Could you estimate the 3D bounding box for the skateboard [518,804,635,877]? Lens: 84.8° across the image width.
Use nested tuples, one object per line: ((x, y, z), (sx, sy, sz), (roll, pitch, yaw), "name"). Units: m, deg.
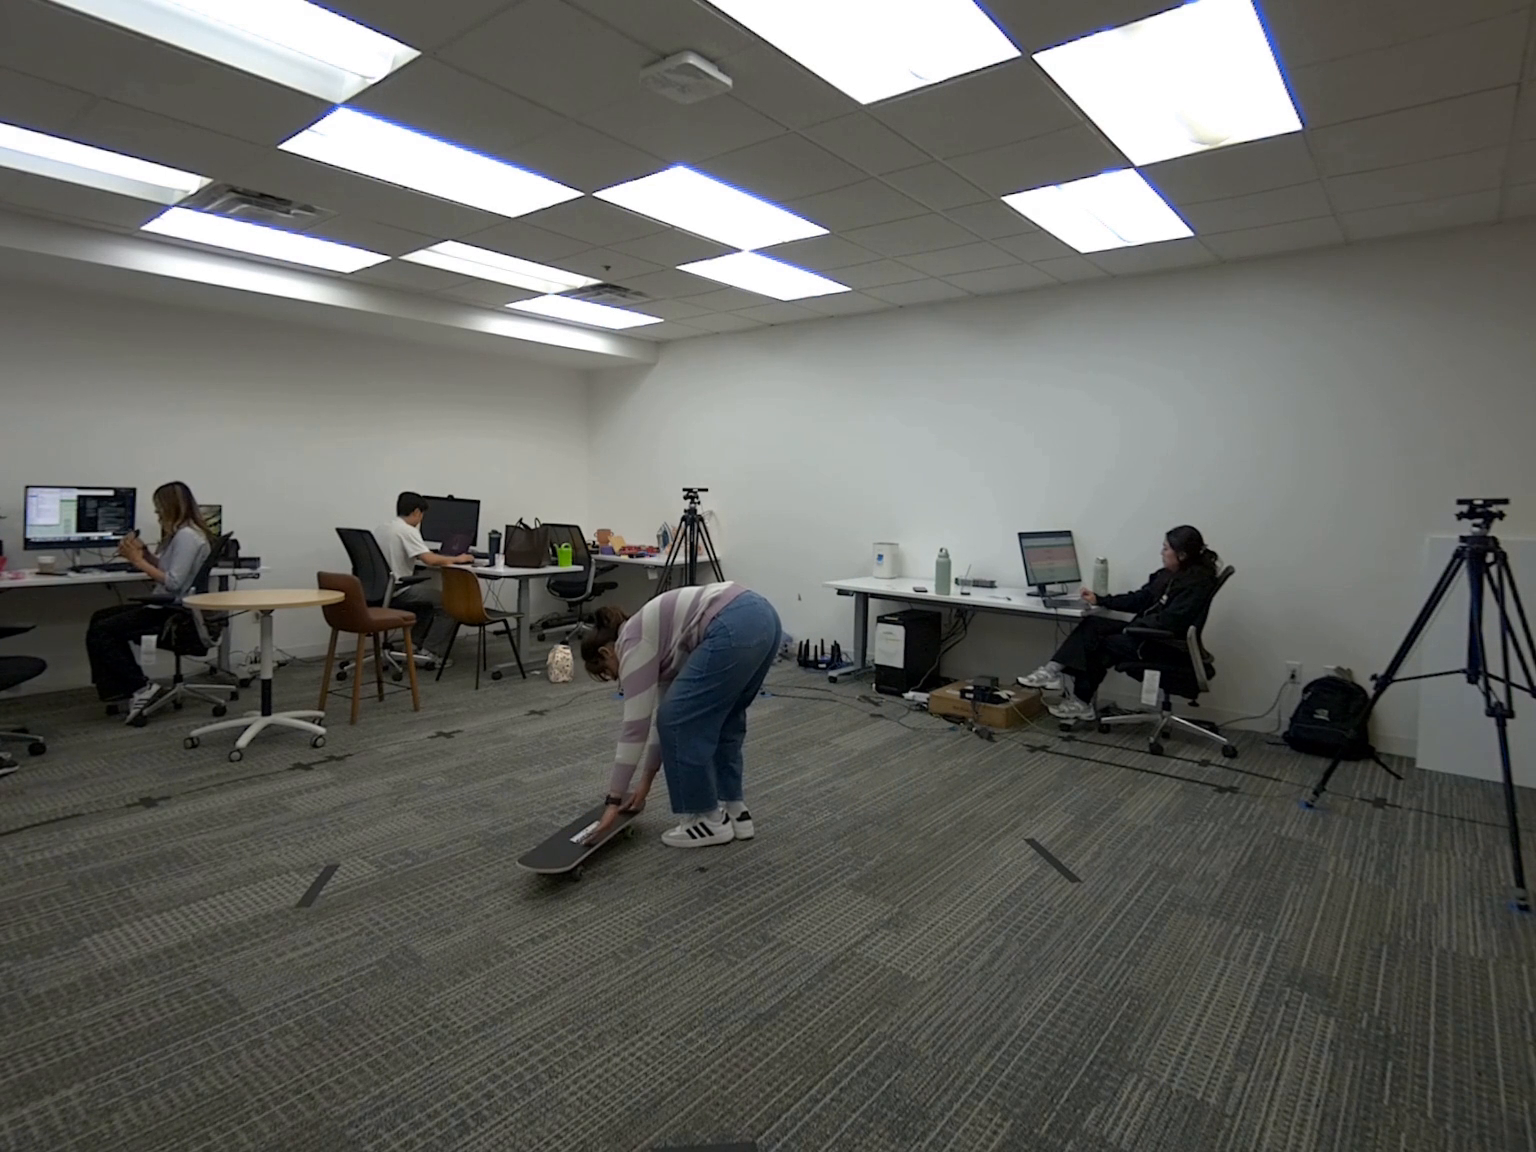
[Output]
((-0.692, 0.992, 3.213), (0.197, 0.110, 0.772), (3, 5, 17), "skateboard")
